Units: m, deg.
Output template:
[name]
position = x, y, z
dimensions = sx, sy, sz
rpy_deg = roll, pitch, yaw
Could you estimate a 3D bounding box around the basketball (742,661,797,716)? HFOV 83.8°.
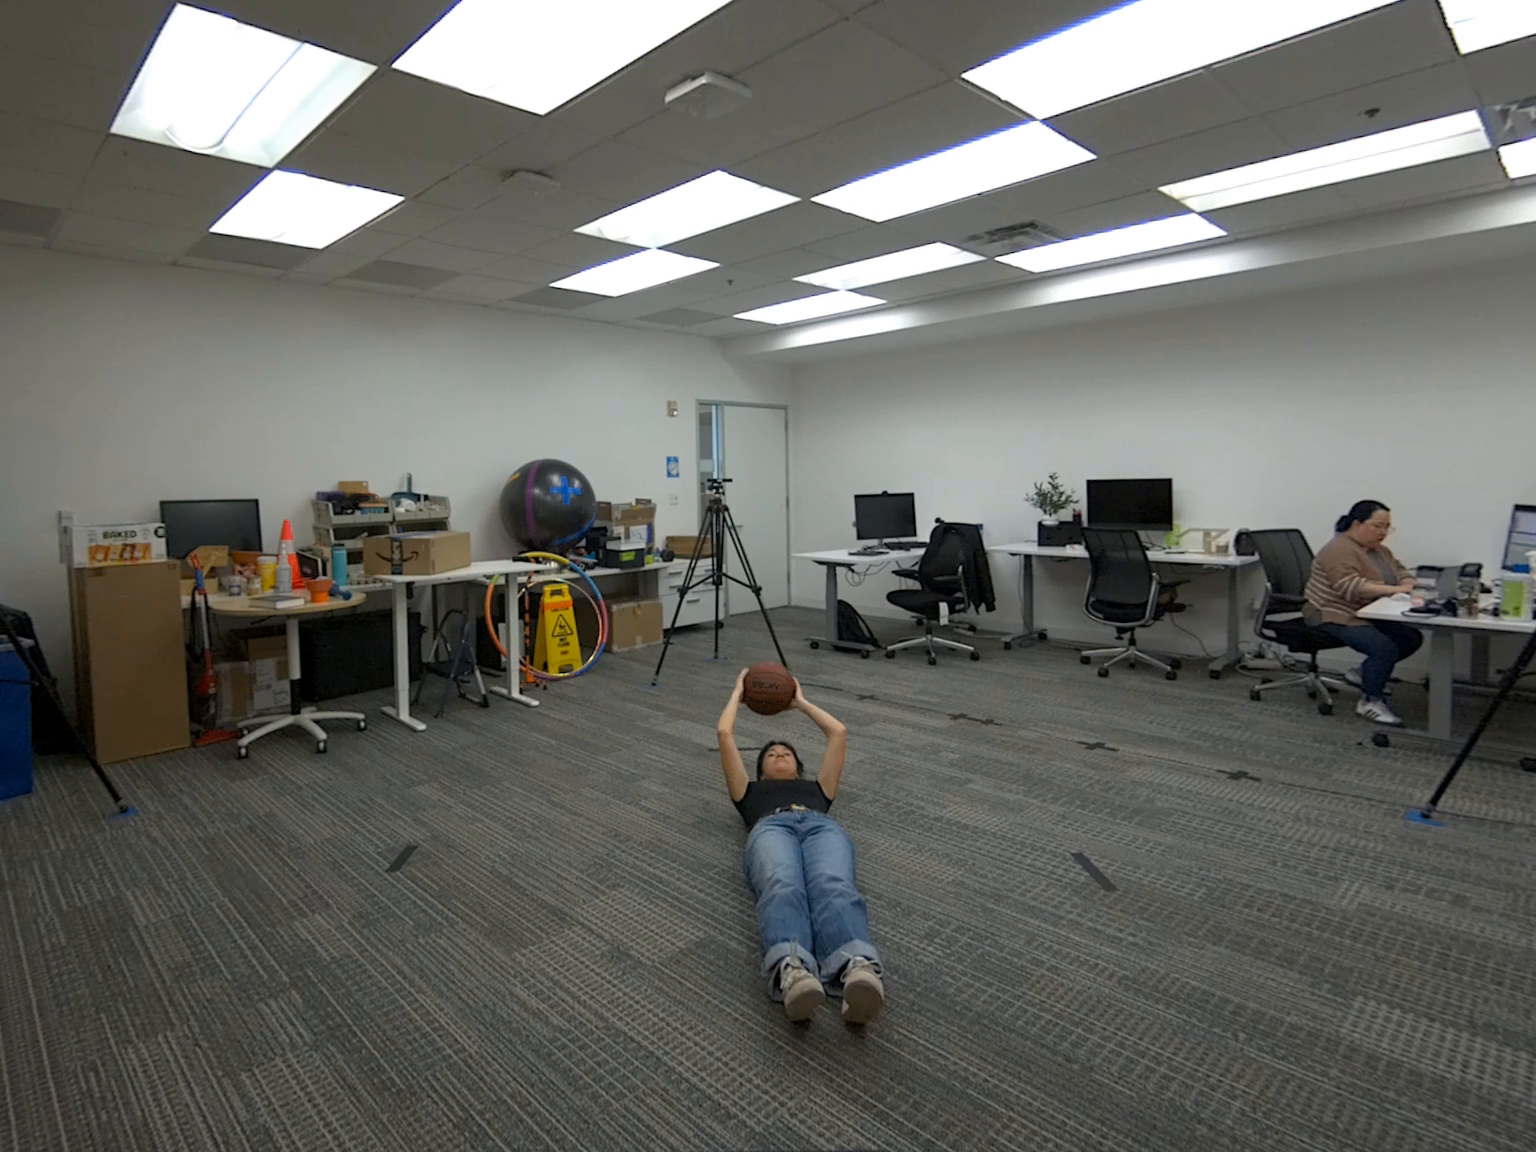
[basketball]
position = 0.003, 0.500, 3.739
dimensions = 0.236, 0.235, 0.237
rpy_deg = -1, 5, -2
